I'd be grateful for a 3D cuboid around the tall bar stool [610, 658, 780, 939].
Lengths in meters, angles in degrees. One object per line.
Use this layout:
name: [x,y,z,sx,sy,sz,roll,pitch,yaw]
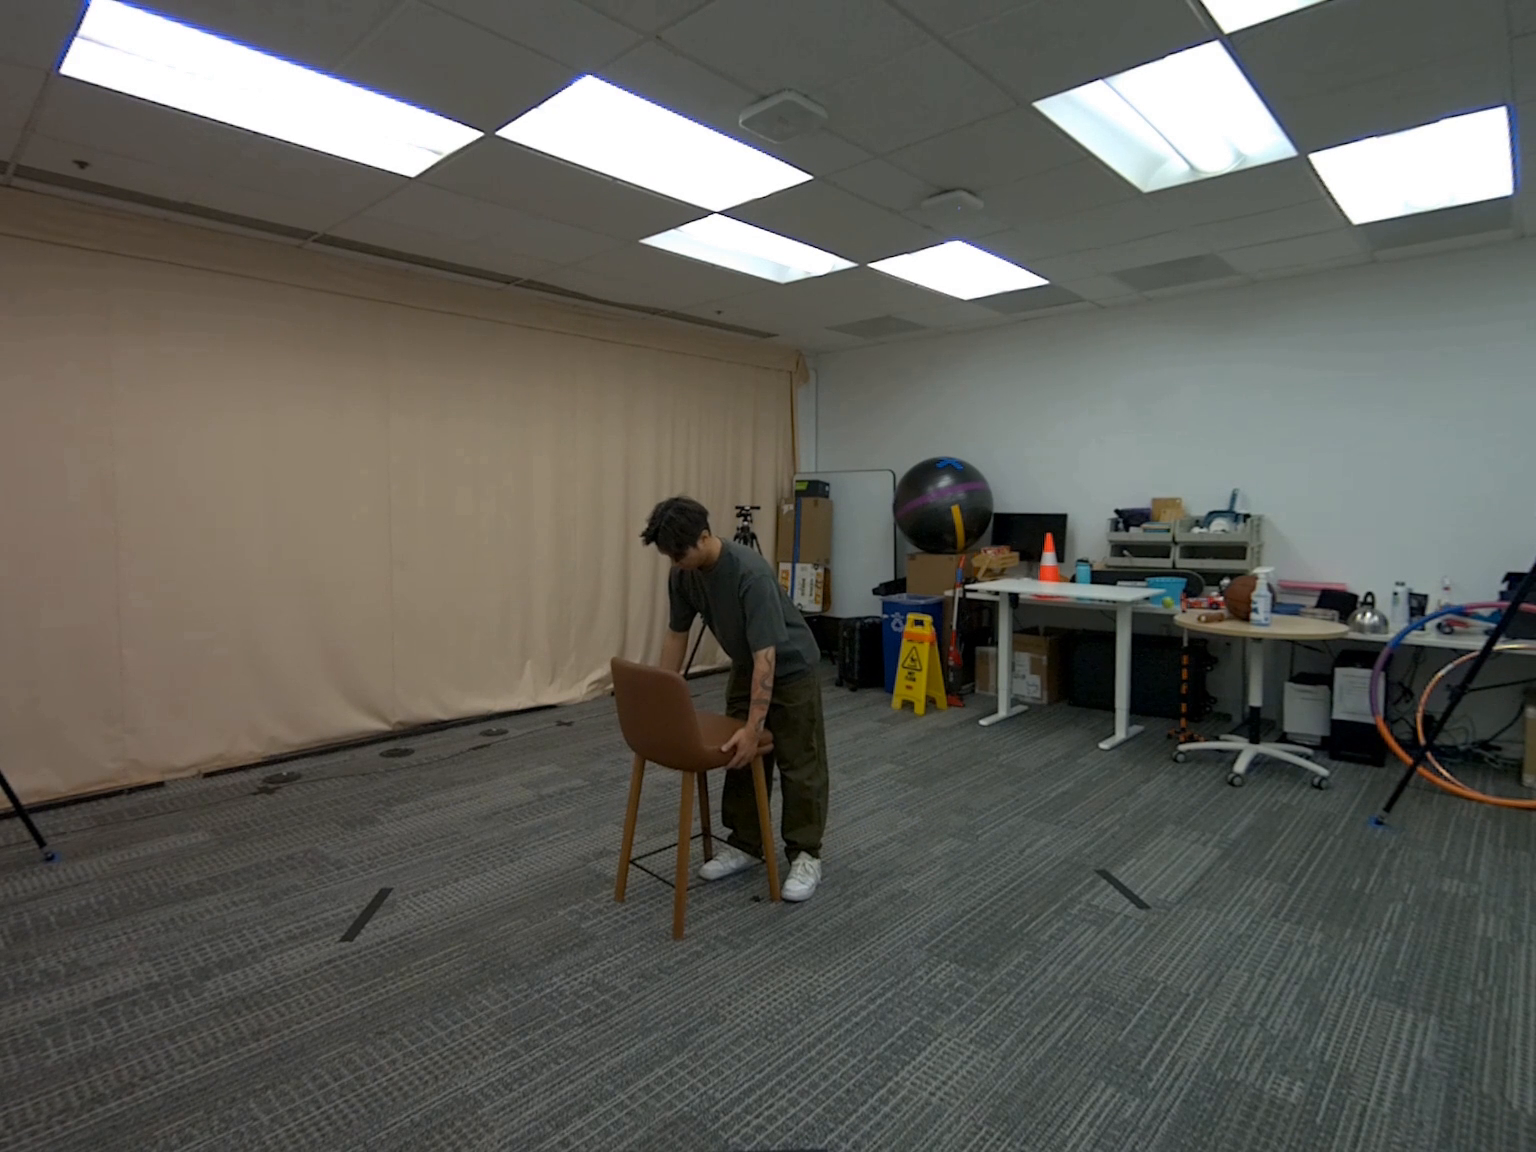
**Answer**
tall bar stool: [-0.259,0.709,2.952,0.454,0.887,0.471,-6,6,-40]
